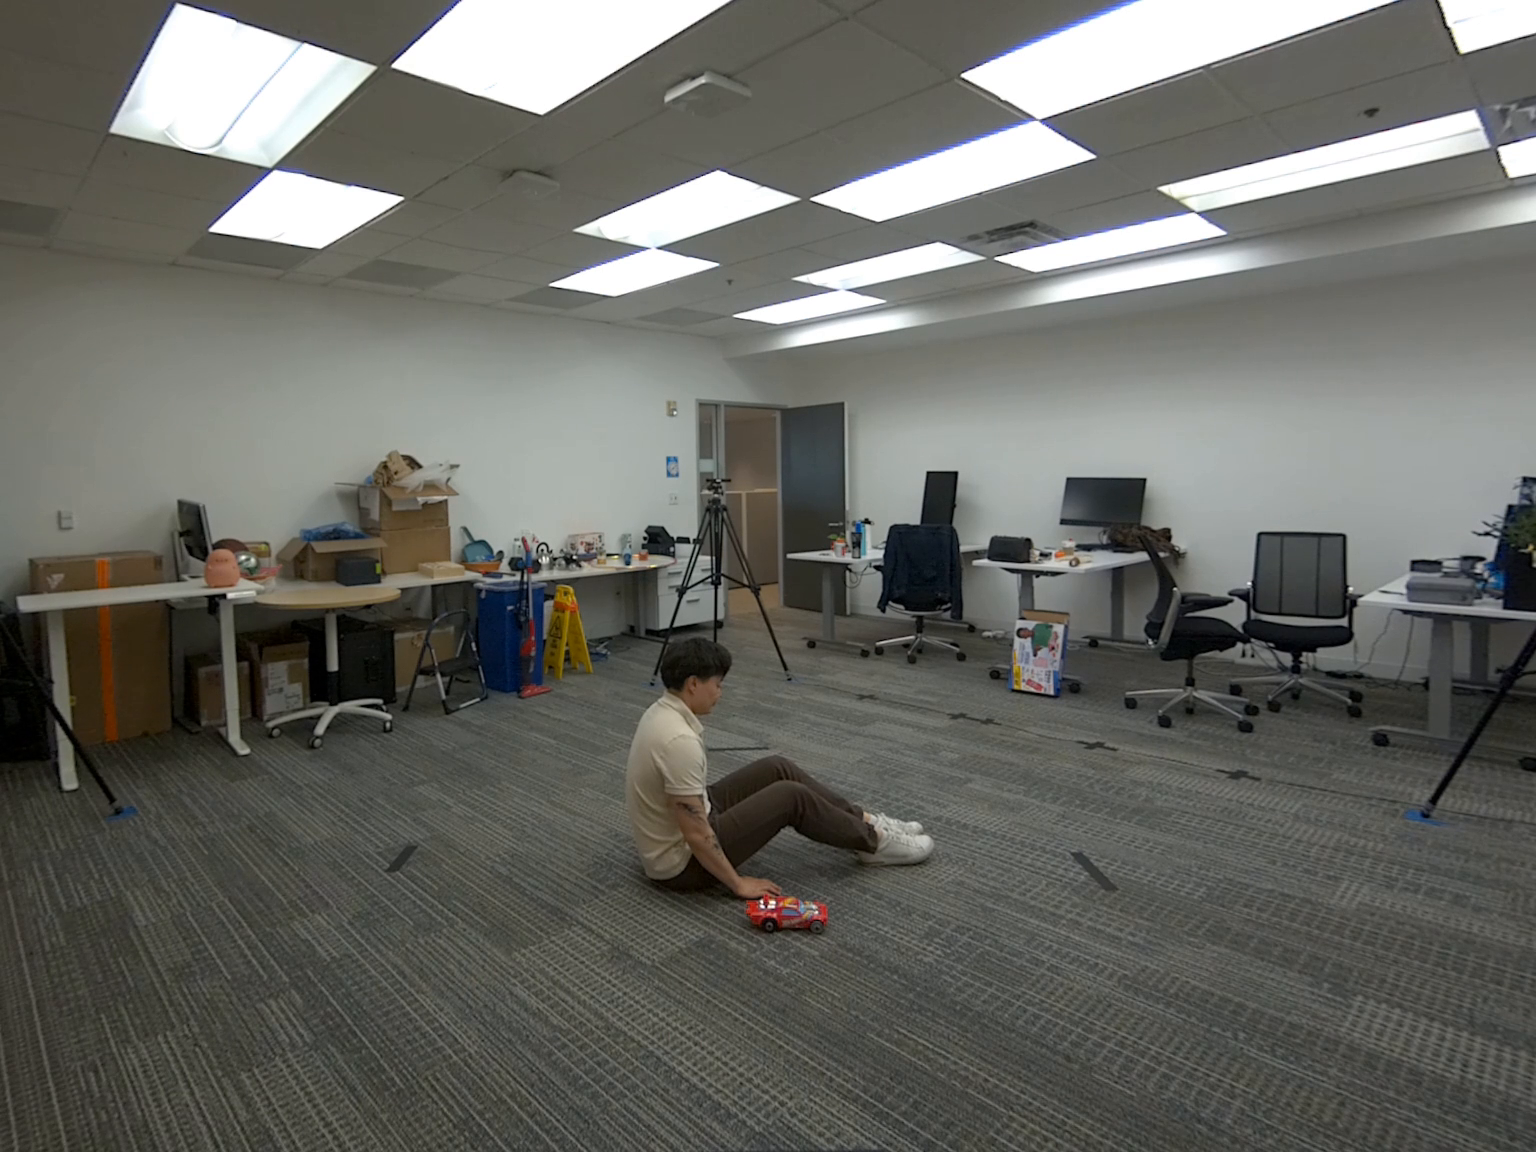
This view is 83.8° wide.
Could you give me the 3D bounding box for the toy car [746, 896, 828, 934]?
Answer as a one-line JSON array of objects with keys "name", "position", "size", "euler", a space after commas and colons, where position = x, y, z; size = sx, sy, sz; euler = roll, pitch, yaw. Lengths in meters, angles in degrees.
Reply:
[{"name": "toy car", "position": [0.053, 1.066, 2.674], "size": [0.256, 0.083, 0.130], "euler": [10, 6, 4]}]
